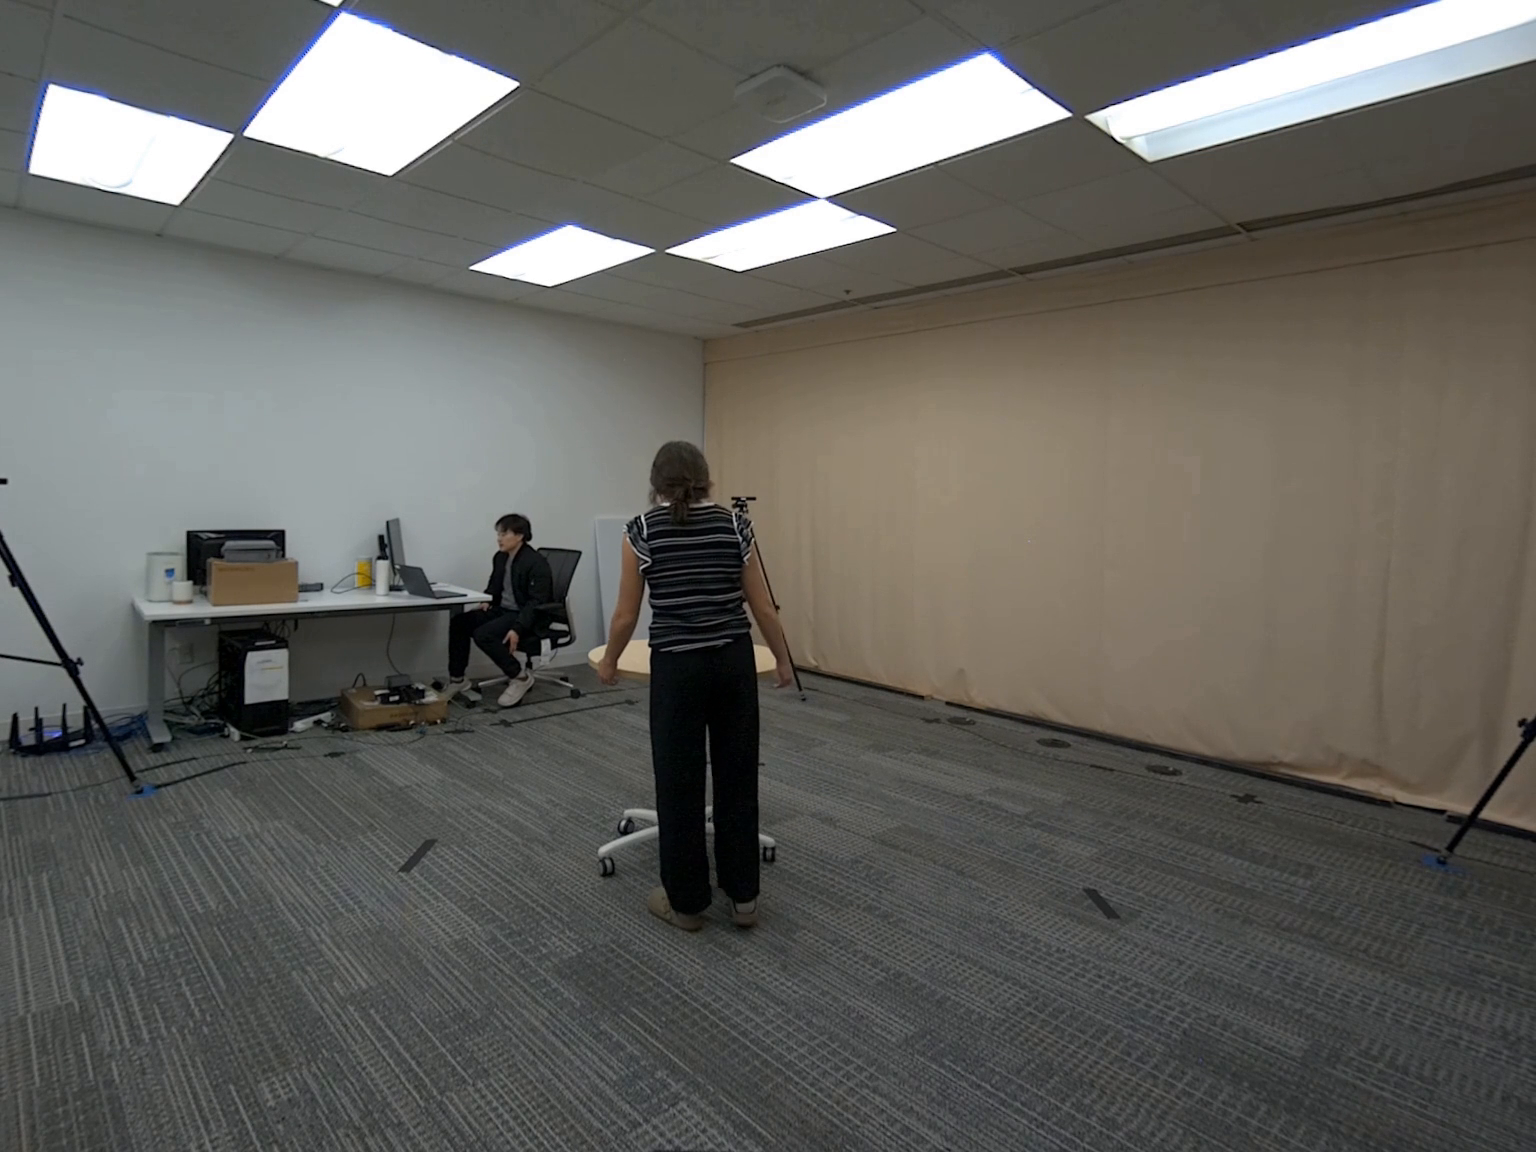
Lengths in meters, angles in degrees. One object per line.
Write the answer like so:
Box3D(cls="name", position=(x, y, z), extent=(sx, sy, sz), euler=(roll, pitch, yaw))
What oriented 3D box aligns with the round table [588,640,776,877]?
Box3D(cls="round table", position=(-0.318, 0.699, 3.237), extent=(0.784, 0.785, 0.787), euler=(1, 3, -1))
